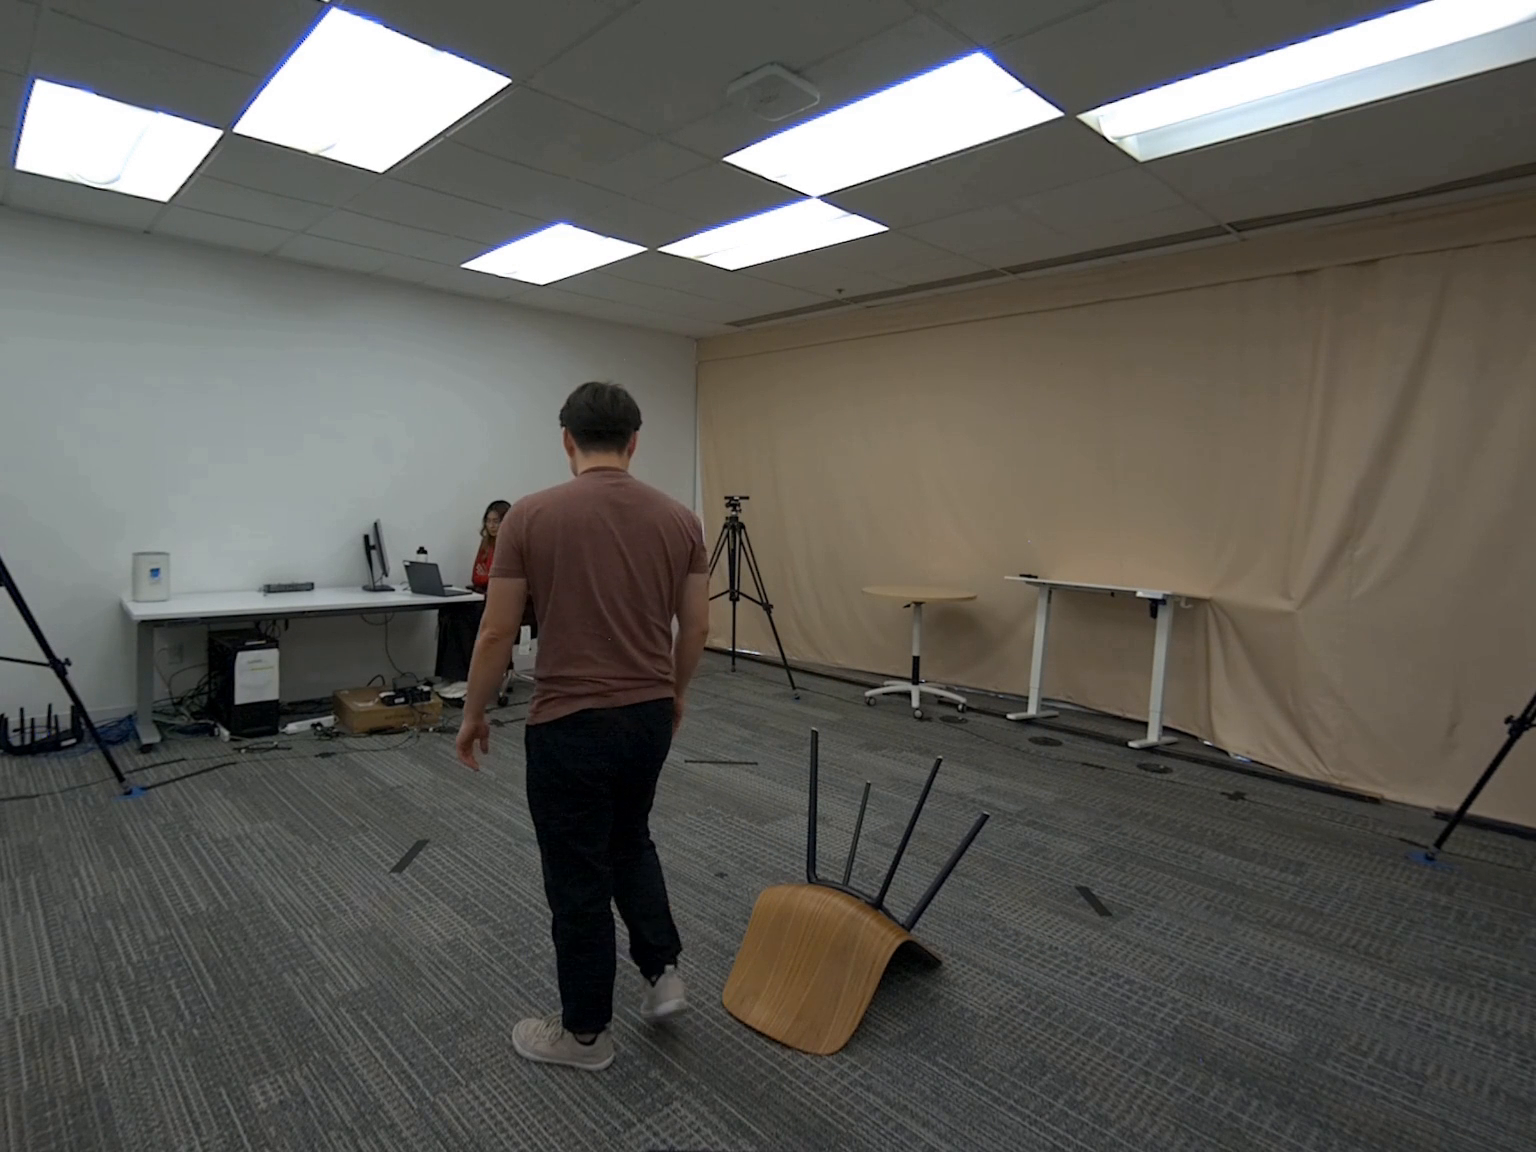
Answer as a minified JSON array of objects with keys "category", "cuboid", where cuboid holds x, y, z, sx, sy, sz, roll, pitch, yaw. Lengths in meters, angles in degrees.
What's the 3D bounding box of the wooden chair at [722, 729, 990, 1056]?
[{"category":"wooden chair","cuboid":[0.269,0.996,2.537,0.490,0.883,0.507,5,-35,37]}]
